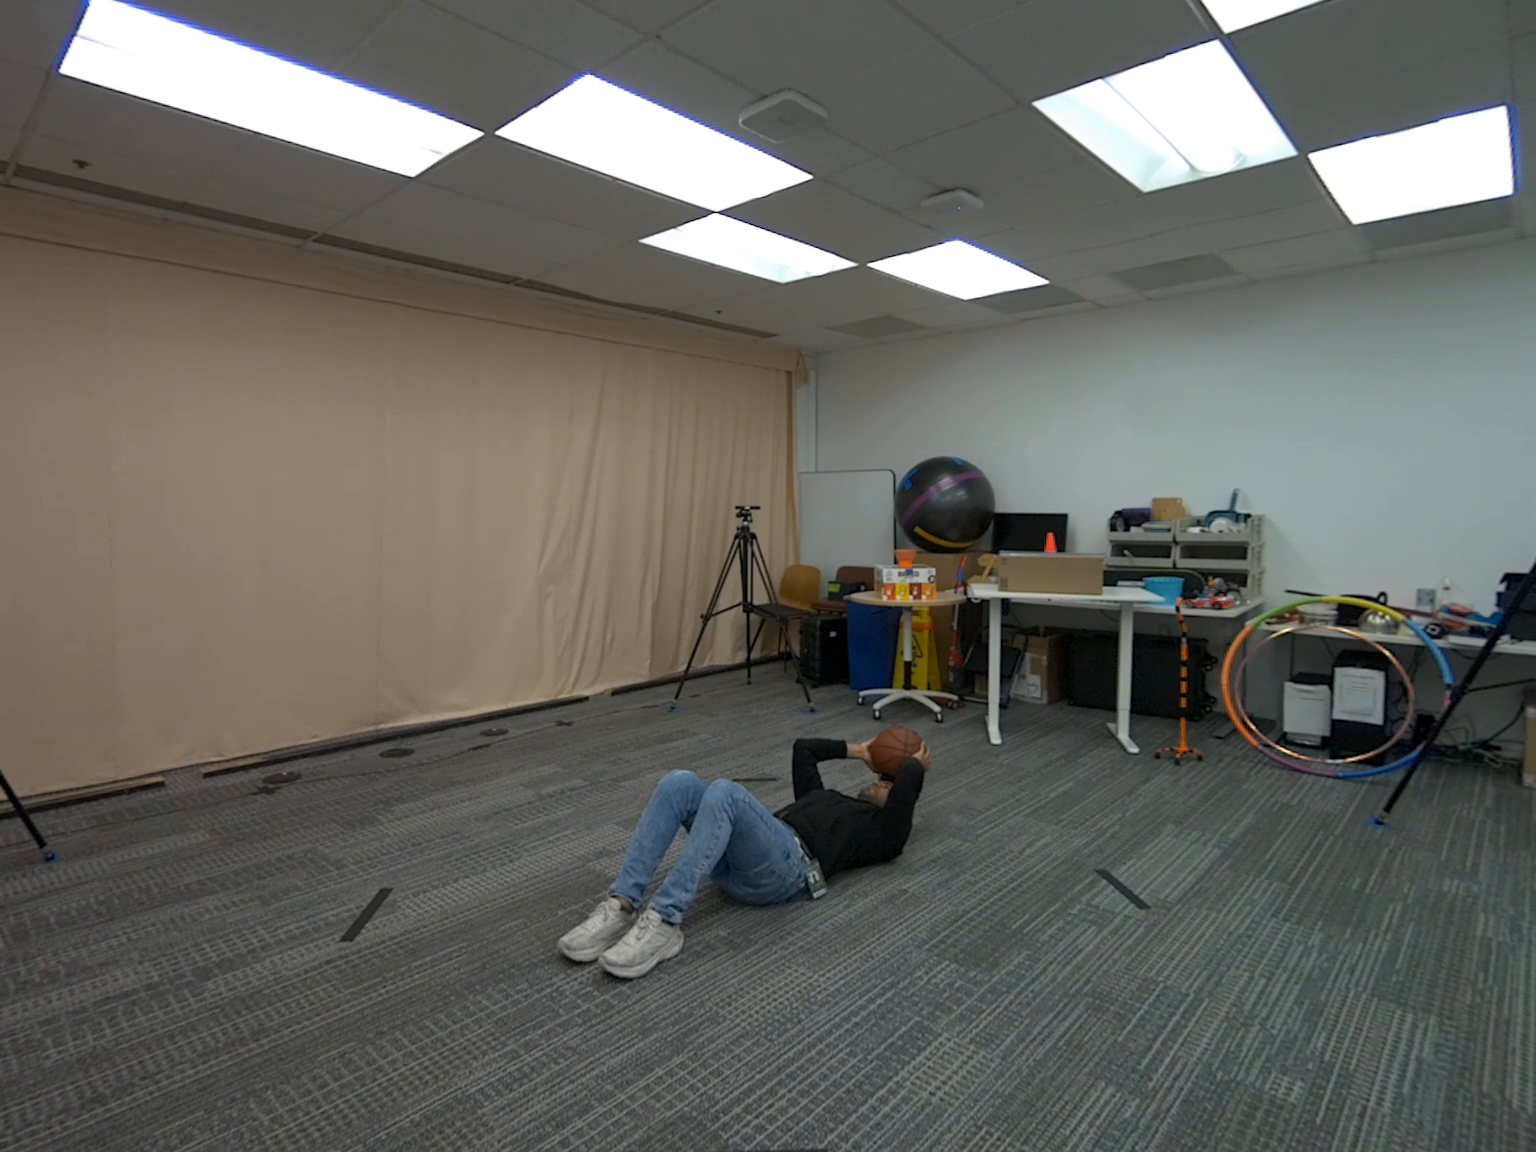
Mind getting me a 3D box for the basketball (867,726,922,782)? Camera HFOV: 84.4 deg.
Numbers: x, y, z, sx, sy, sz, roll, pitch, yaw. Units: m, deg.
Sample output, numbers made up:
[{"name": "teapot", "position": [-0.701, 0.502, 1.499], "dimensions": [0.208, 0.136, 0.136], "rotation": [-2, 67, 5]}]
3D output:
[{"name": "basketball", "position": [0.568, 0.773, 3.670], "dimensions": [0.236, 0.235, 0.237], "rotation": [0, 4, -2]}]
